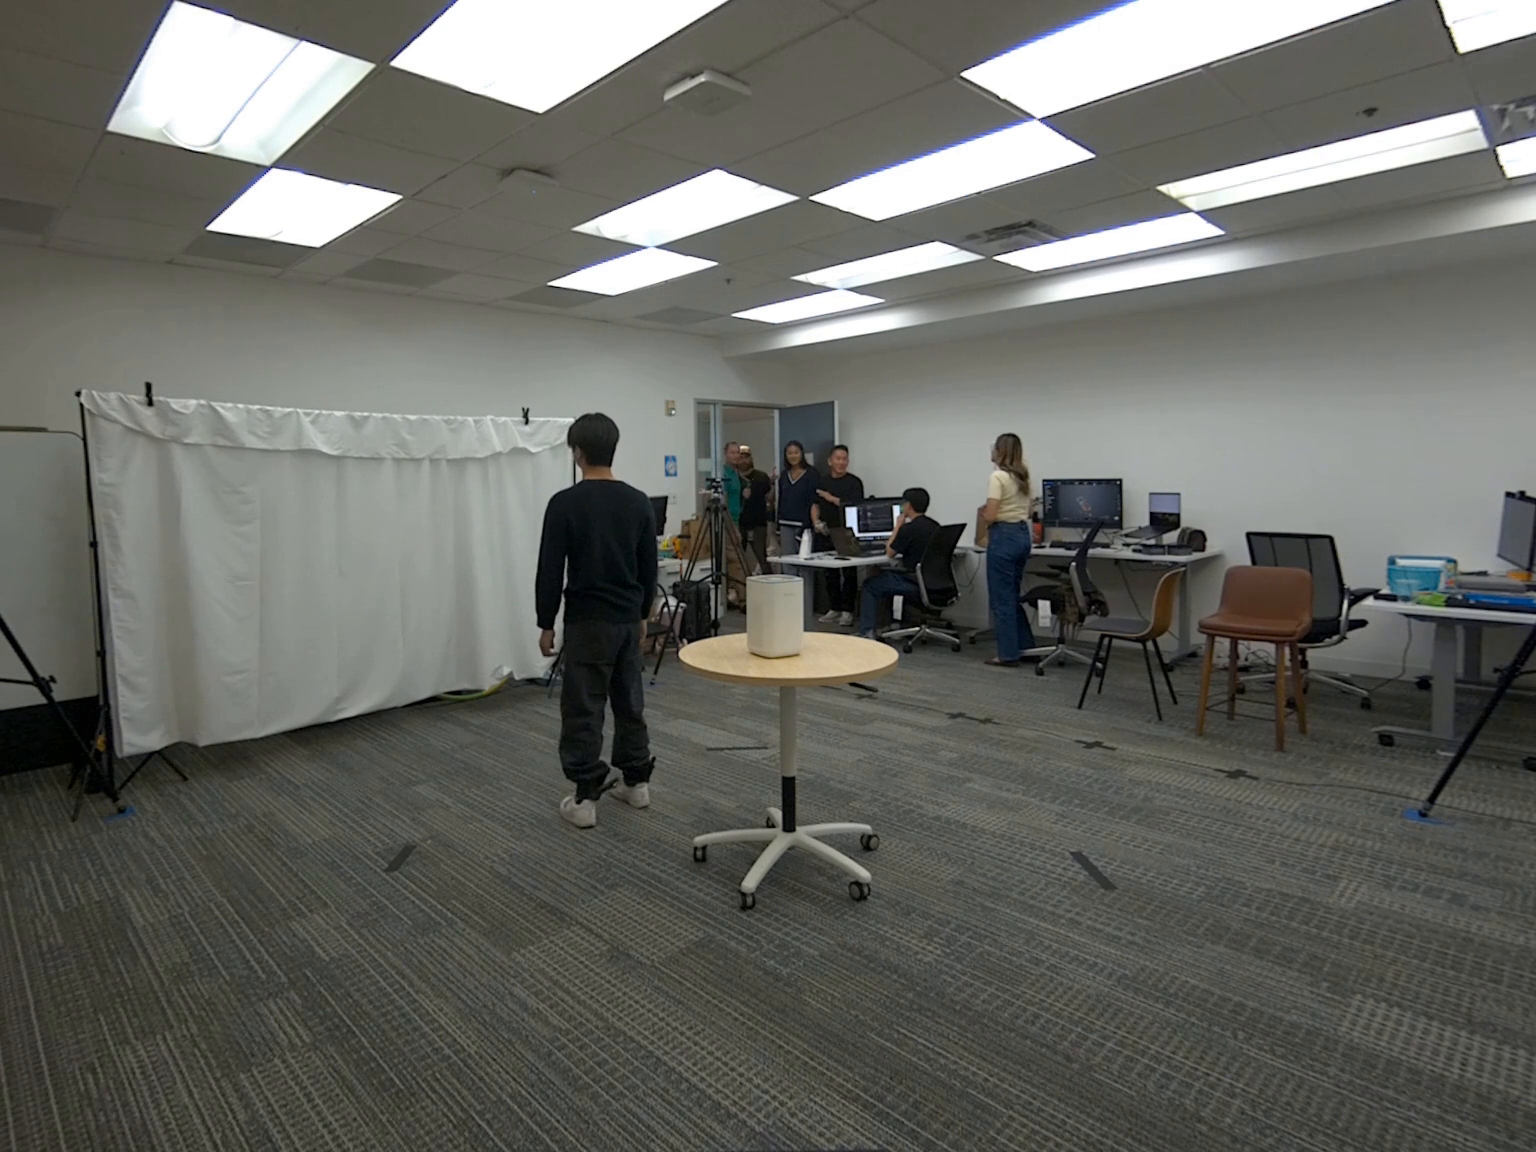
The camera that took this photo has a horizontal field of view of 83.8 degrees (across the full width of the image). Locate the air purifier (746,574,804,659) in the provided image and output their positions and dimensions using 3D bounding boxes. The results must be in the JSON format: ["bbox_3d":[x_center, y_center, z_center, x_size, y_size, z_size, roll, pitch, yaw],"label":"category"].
[{"bbox_3d":[0.027,0.136,2.965,0.167,0.264,0.177,-3,7,-33],"label":"air purifier"}]
